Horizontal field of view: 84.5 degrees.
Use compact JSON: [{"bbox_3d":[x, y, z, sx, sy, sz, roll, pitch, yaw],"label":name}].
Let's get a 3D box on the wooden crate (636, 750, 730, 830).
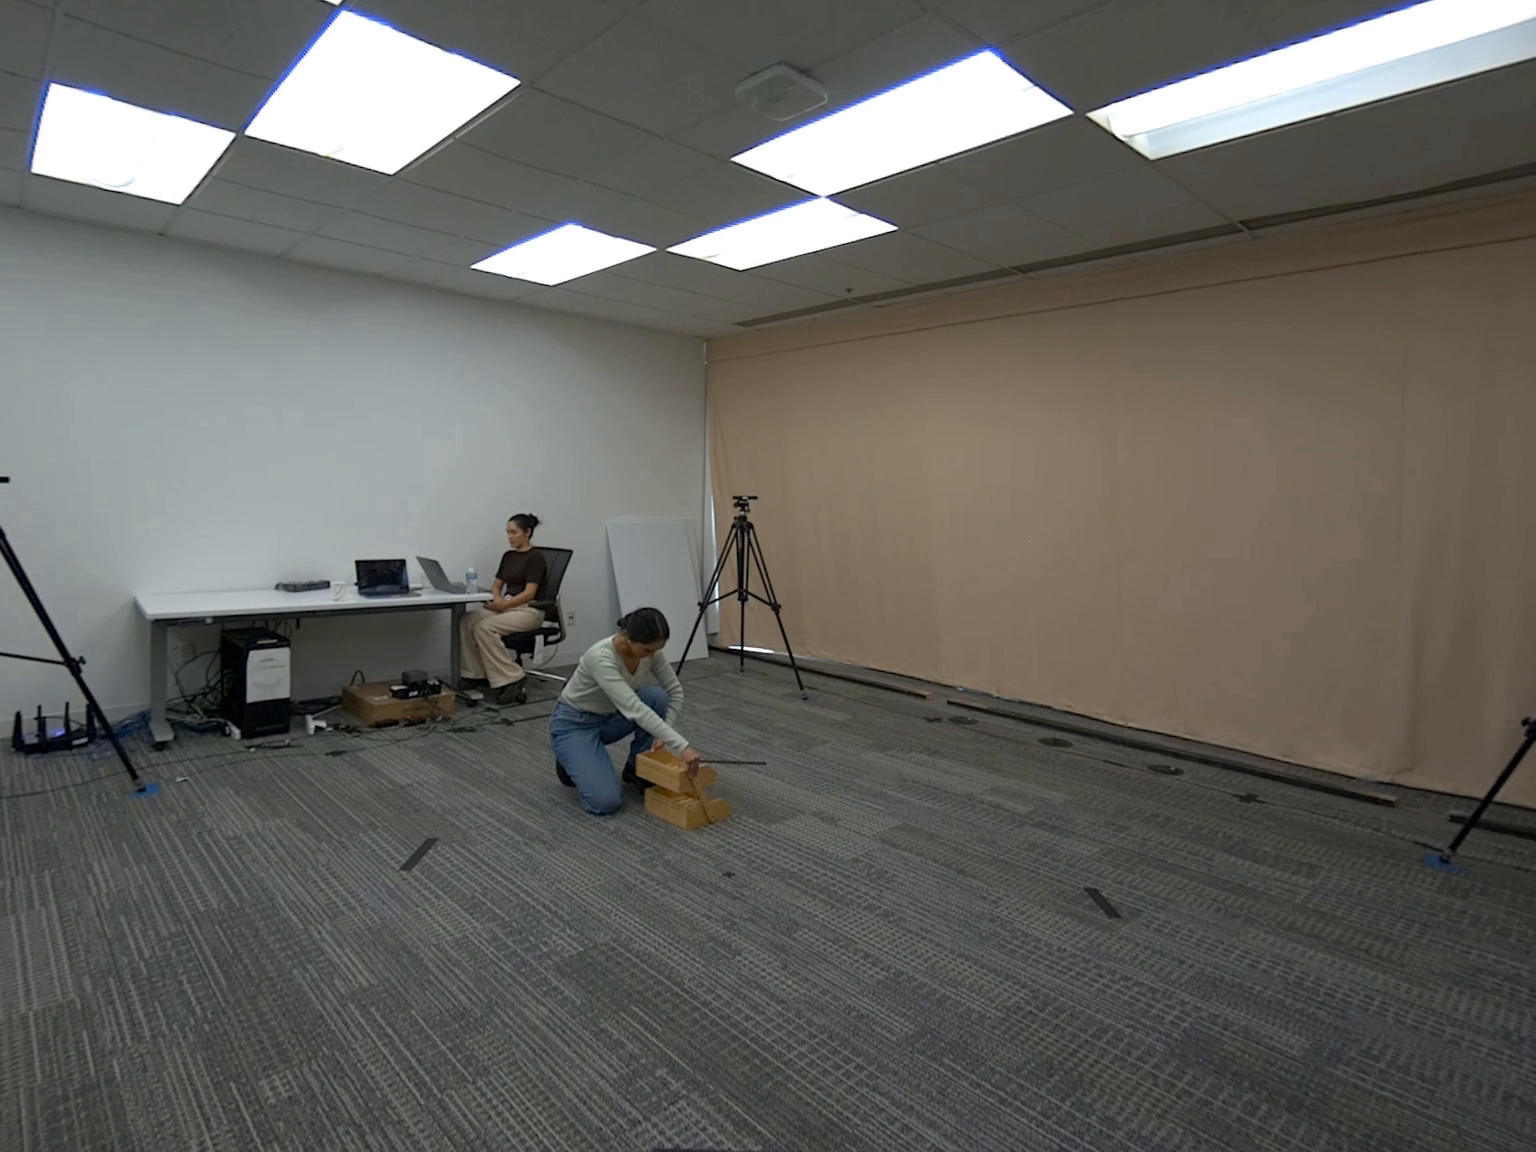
[{"bbox_3d":[-0.378,0.914,3.685,0.295,0.272,0.333,-4,7,-44],"label":"wooden crate"}]
